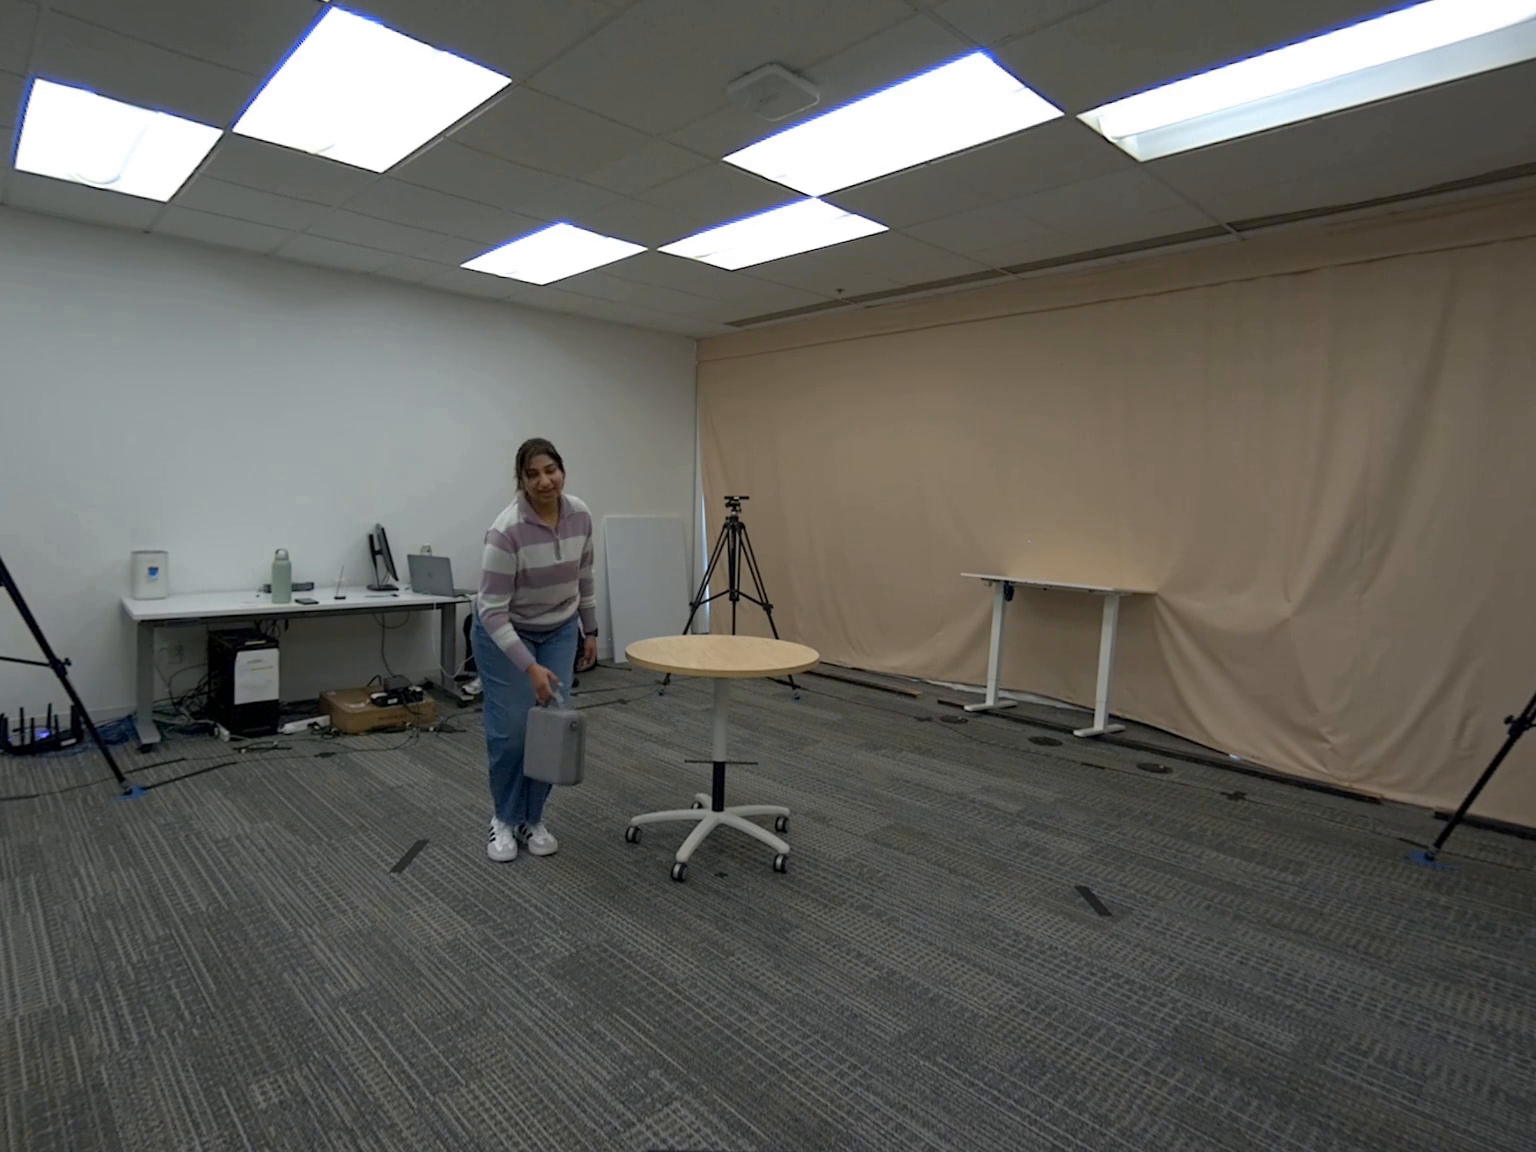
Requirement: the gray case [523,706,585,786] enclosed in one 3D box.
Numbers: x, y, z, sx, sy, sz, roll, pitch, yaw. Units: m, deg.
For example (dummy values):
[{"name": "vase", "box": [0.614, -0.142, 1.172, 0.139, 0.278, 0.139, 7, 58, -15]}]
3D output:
[{"name": "gray case", "box": [-0.756, 0.589, 2.958, 0.101, 0.262, 0.262, 7, -8, -43]}]
